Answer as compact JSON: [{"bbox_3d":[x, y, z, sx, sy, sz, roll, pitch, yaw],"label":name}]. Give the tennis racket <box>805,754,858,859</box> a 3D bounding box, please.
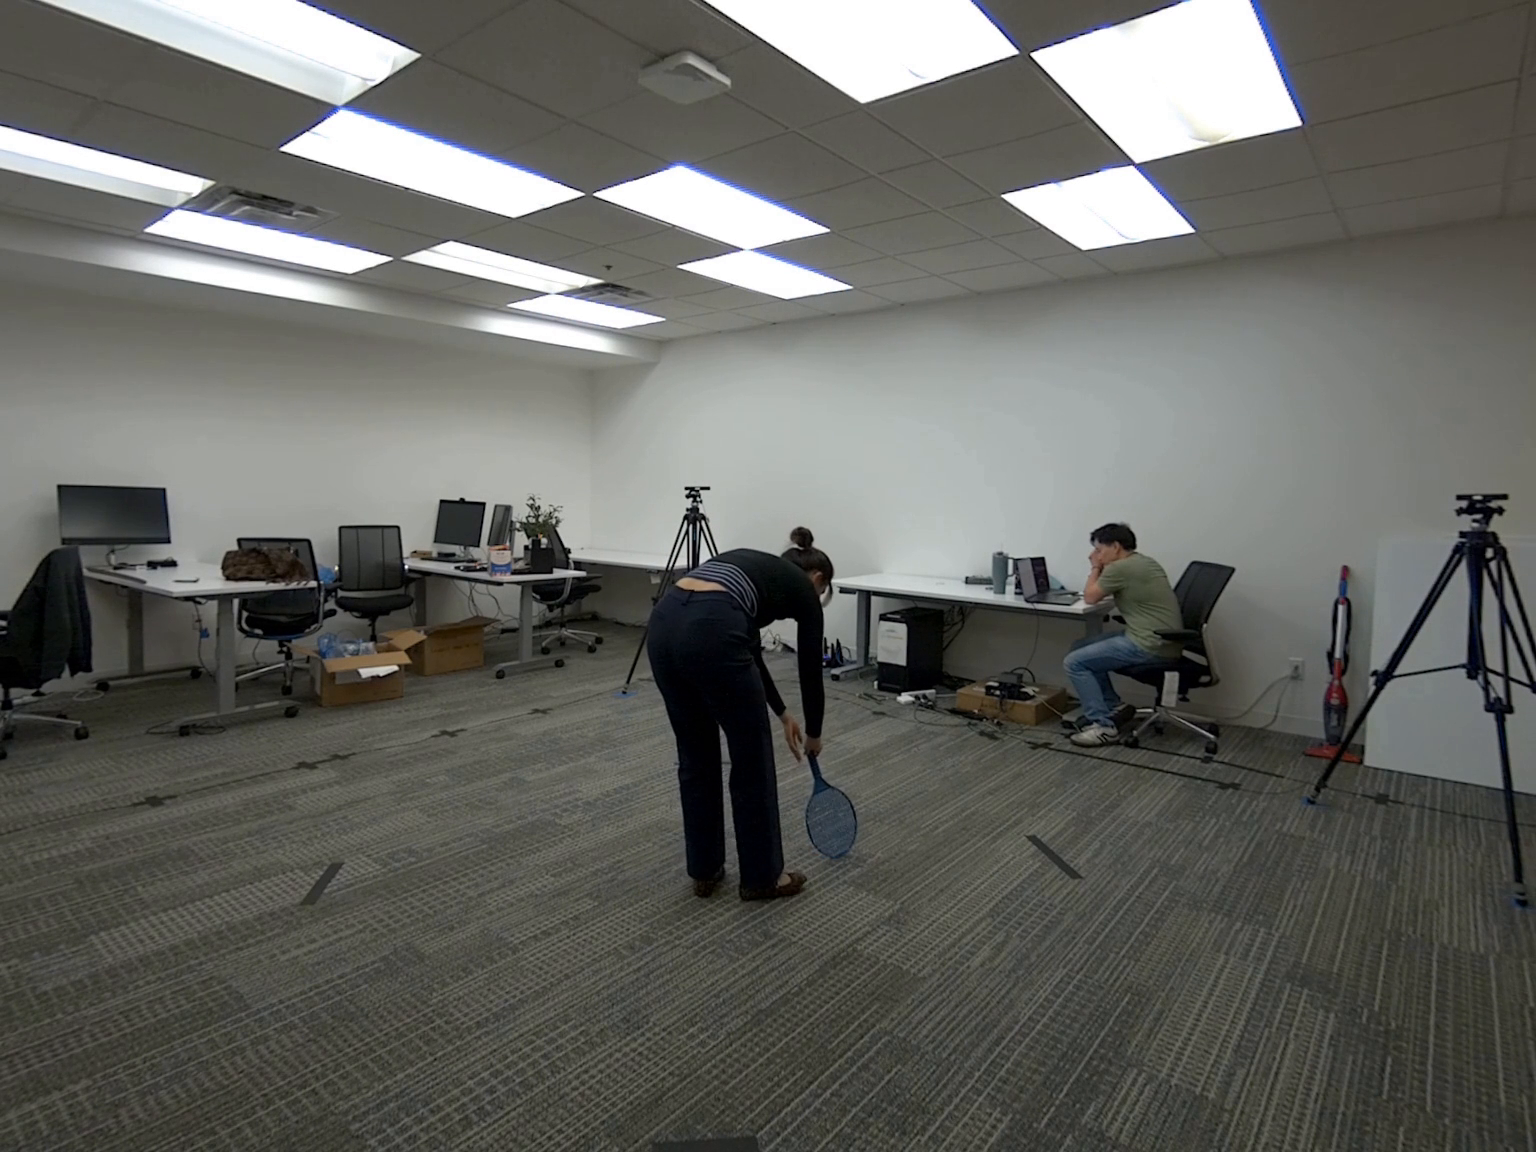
[{"bbox_3d":[0.207,0.850,3.225,0.211,0.433,0.032,-21,0,-24],"label":"tennis racket"}]
